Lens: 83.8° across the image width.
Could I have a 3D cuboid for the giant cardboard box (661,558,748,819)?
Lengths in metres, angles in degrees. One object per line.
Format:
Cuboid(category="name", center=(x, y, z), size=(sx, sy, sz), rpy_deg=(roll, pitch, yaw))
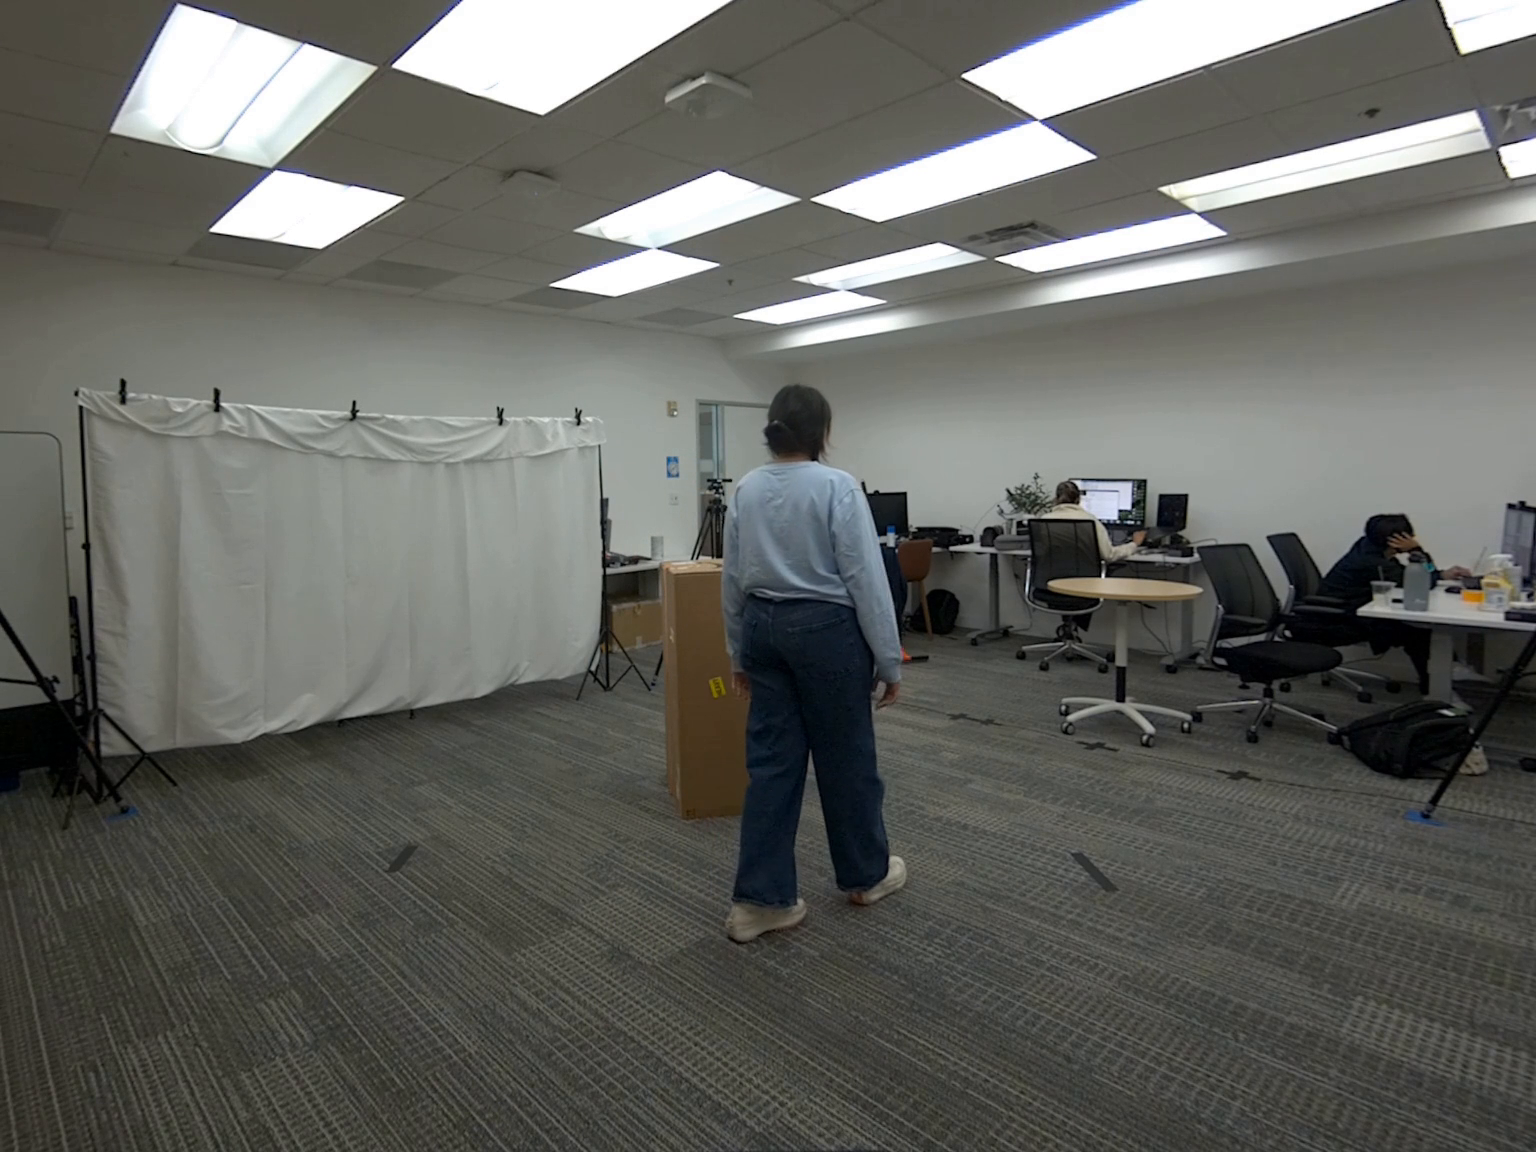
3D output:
Cuboid(category="giant cardboard box", center=(-0.238, 0.462, 3.809), size=(0.422, 1.023, 0.585), rpy_deg=(-2, 3, -12))
